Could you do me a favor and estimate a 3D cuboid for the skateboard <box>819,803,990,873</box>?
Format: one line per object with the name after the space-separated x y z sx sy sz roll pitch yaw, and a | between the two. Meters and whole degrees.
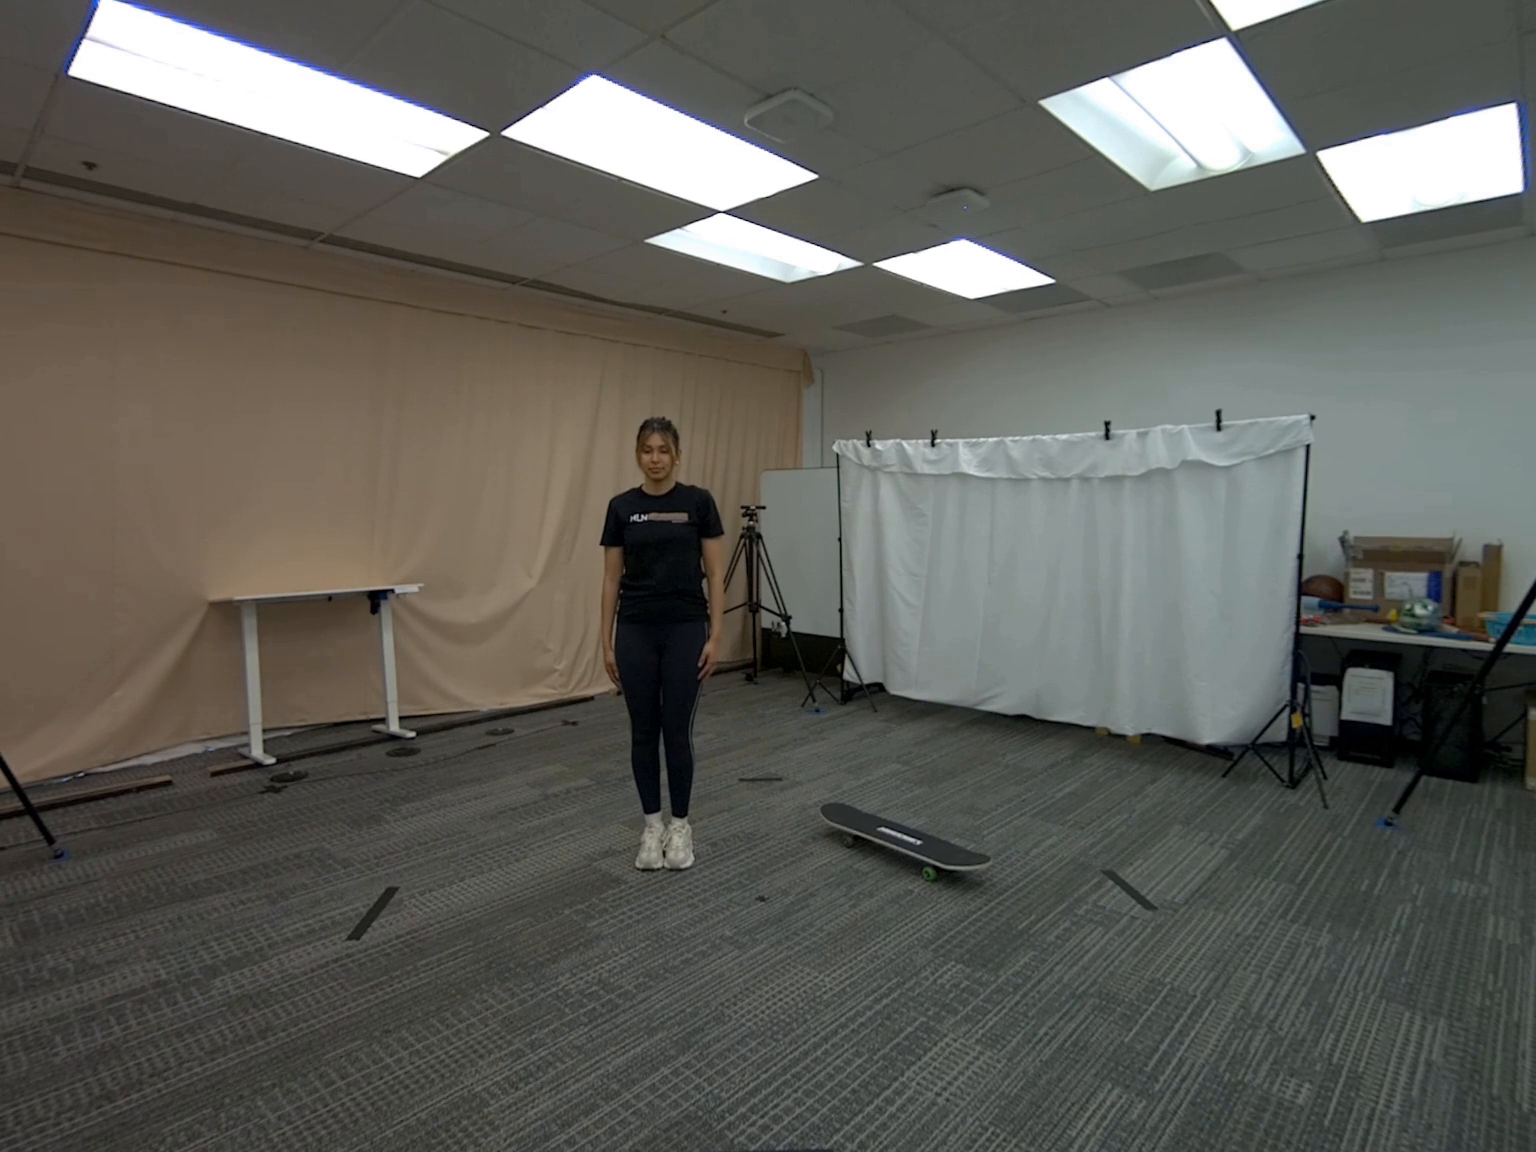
0.521 1.056 3.326 0.188 0.110 0.812 -5 7 -41 | skateboard
